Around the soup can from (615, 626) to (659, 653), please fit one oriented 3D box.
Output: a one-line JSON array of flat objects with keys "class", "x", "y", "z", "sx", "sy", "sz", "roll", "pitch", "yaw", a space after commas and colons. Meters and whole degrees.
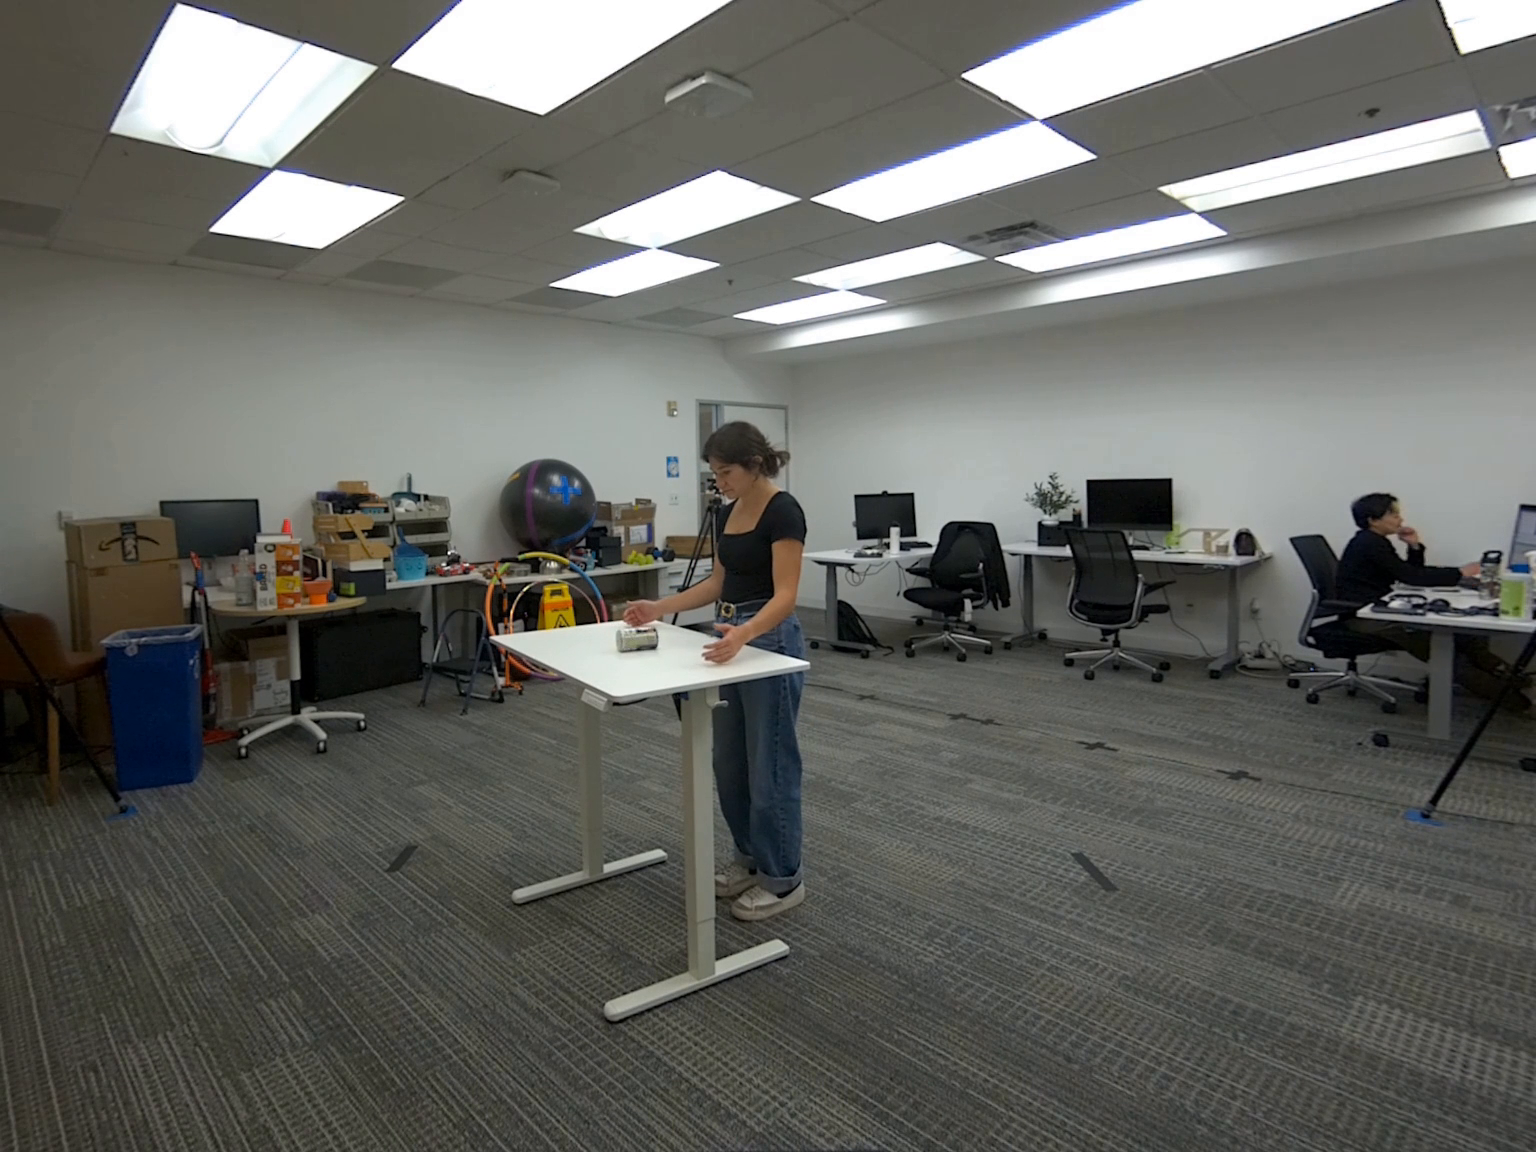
[{"class": "soup can", "x": -0.398, "y": 0.194, "z": 2.618, "sx": 0.120, "sy": 0.067, "sz": 0.068, "roll": -2, "pitch": 5, "yaw": -14}]
